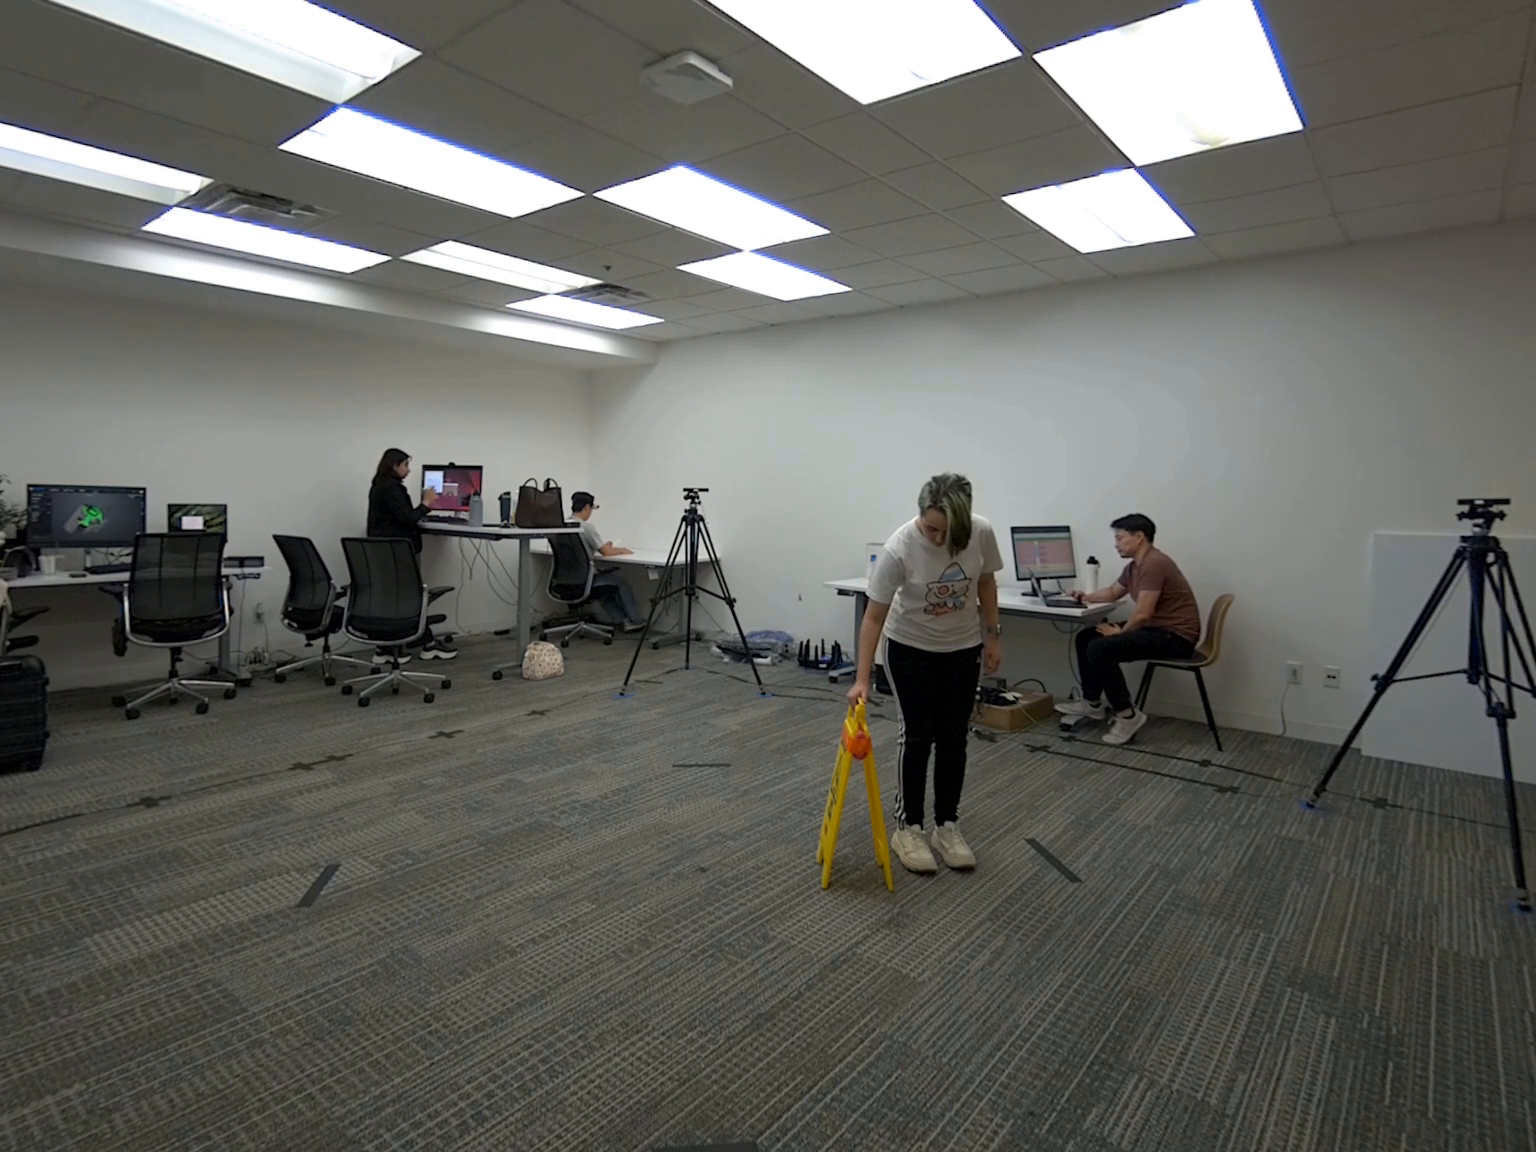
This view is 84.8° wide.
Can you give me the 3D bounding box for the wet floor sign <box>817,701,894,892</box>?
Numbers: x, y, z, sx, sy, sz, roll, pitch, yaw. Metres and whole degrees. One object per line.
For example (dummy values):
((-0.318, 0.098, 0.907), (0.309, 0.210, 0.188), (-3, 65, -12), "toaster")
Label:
((0.308, 0.754, 3.081), (0.290, 0.645, 0.282), (0, 1, 0), "wet floor sign")
